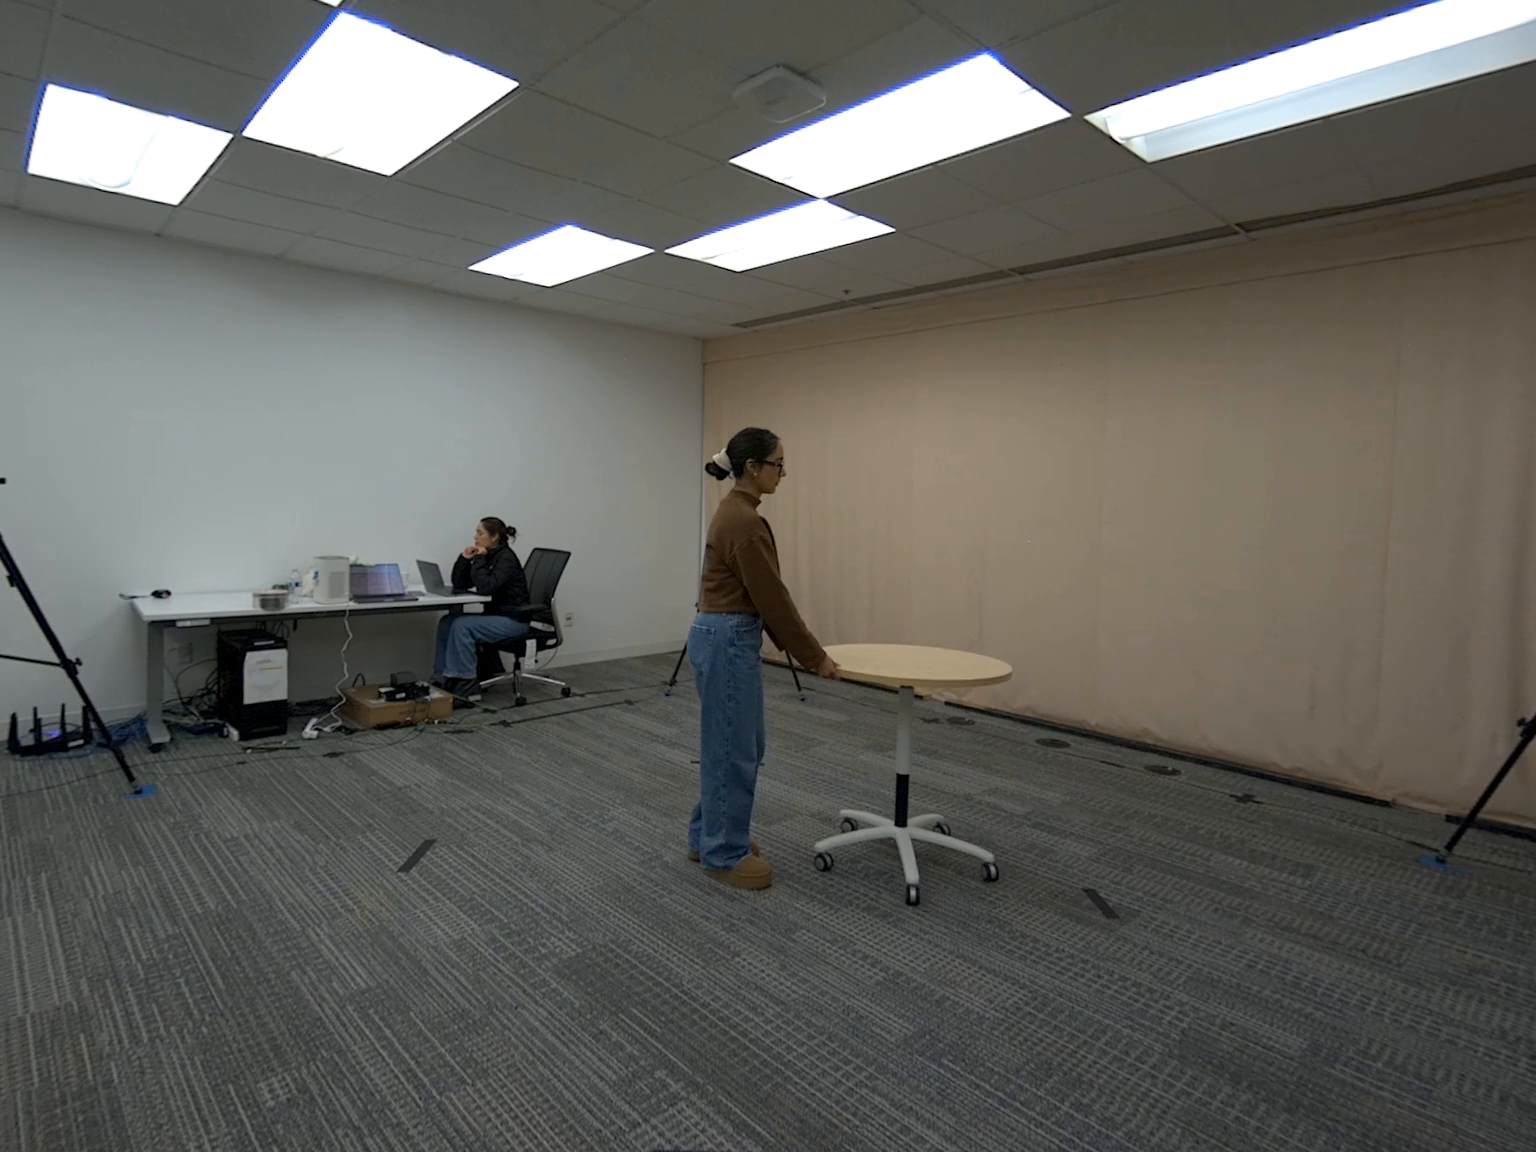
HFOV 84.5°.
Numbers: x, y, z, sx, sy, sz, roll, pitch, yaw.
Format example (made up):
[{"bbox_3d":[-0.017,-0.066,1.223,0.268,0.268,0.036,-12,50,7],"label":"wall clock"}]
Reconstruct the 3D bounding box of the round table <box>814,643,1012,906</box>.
[{"bbox_3d":[0.509,0.713,3.236,0.784,0.785,0.787,2,3,-1],"label":"round table"}]
